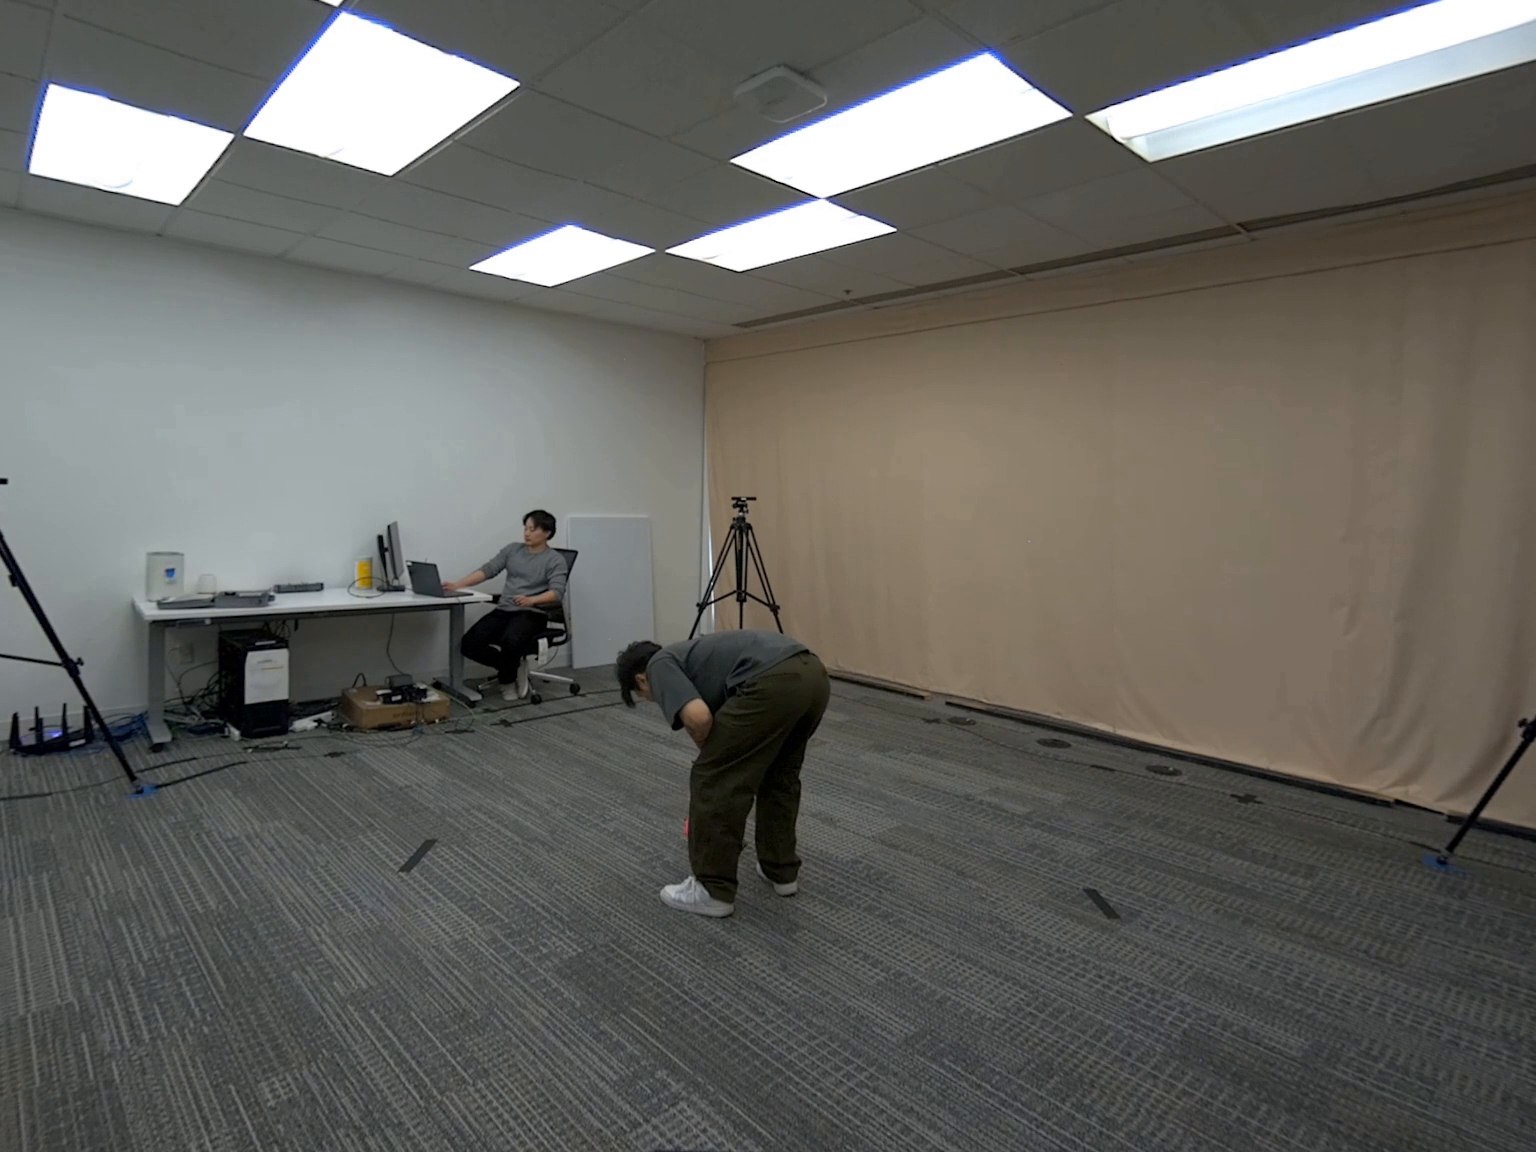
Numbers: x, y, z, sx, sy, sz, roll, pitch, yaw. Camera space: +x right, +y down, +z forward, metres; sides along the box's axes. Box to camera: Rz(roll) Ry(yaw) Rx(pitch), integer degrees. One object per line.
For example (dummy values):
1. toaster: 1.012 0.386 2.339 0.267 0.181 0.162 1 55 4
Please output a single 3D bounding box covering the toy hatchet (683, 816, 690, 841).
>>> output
1. toy hatchet: -0.226 1.031 3.317 0.277 0.029 0.131 25 48 26
